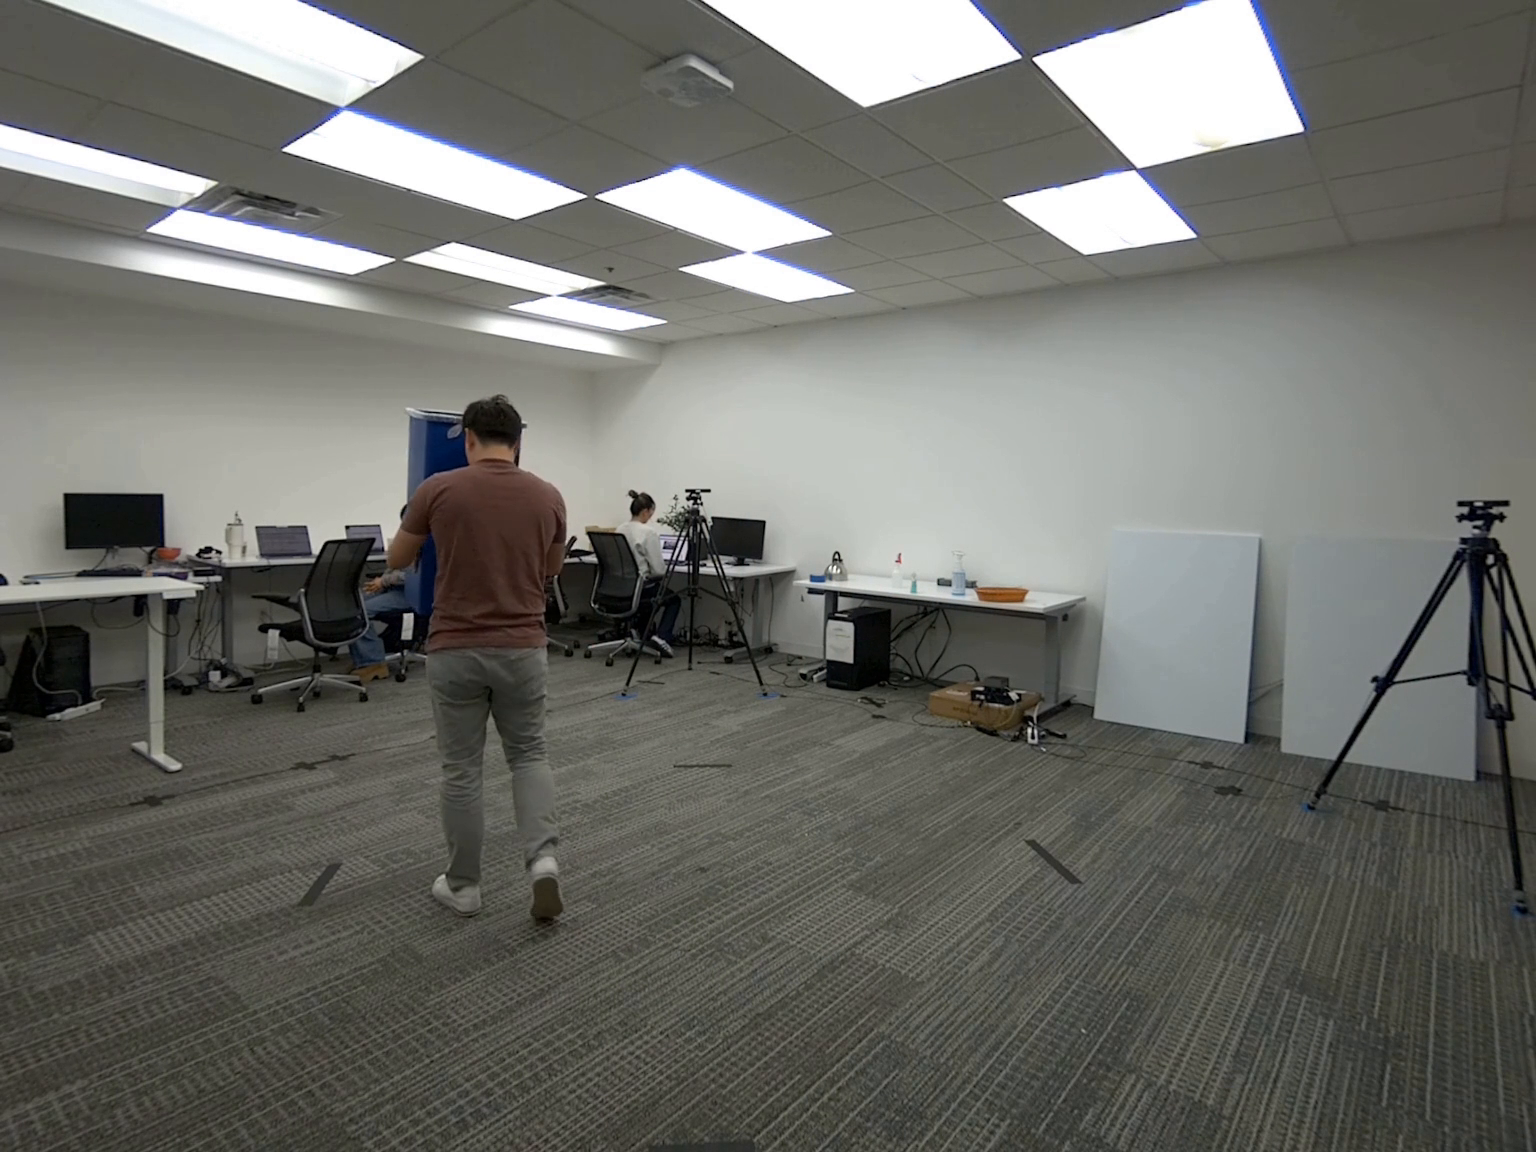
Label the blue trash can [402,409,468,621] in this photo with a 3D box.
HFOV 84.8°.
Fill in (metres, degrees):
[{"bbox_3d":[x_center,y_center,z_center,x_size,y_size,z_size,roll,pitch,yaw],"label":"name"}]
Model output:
[{"bbox_3d":[-1.160,-0.249,3.163,0.367,0.708,0.388,2,11,-33],"label":"blue trash can"}]
